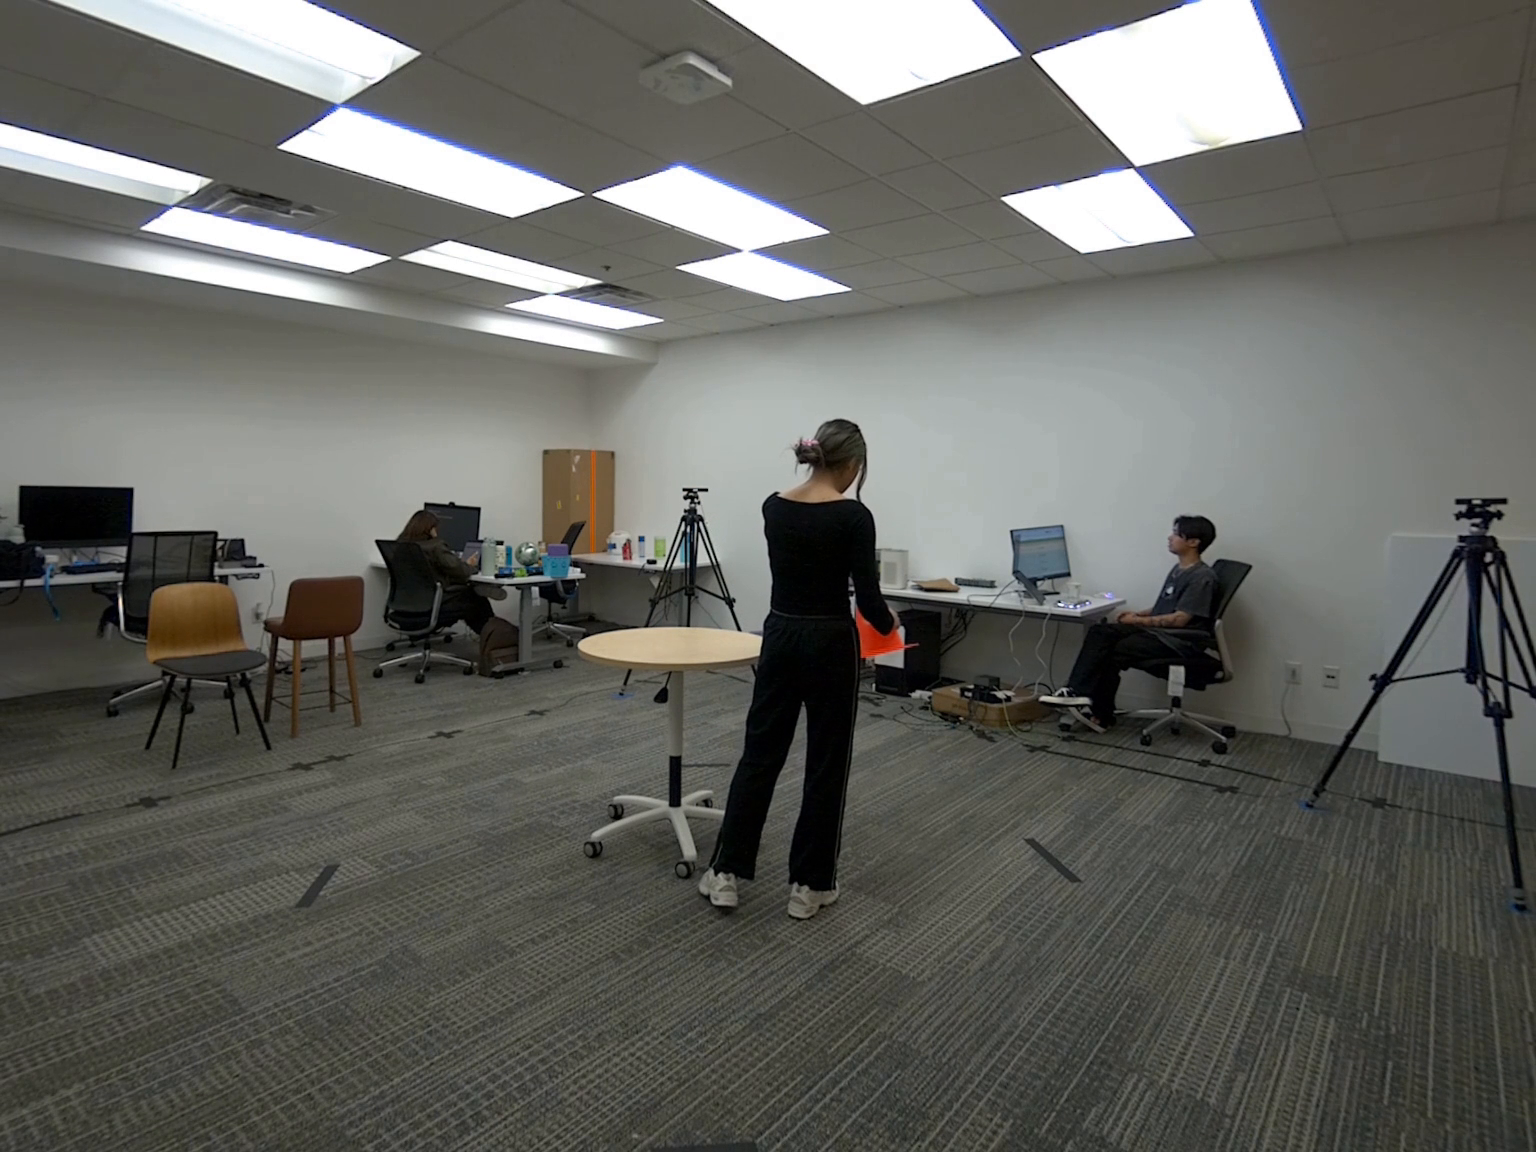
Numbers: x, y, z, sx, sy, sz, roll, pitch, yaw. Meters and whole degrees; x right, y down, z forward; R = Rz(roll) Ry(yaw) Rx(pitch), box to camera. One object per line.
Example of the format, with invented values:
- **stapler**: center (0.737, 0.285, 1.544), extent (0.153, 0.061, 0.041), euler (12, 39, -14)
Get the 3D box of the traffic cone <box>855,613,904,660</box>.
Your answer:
- **traffic cone**: center (0.354, 0.083, 3.029), extent (0.203, 0.389, 0.203), euler (-9, -12, -12)
